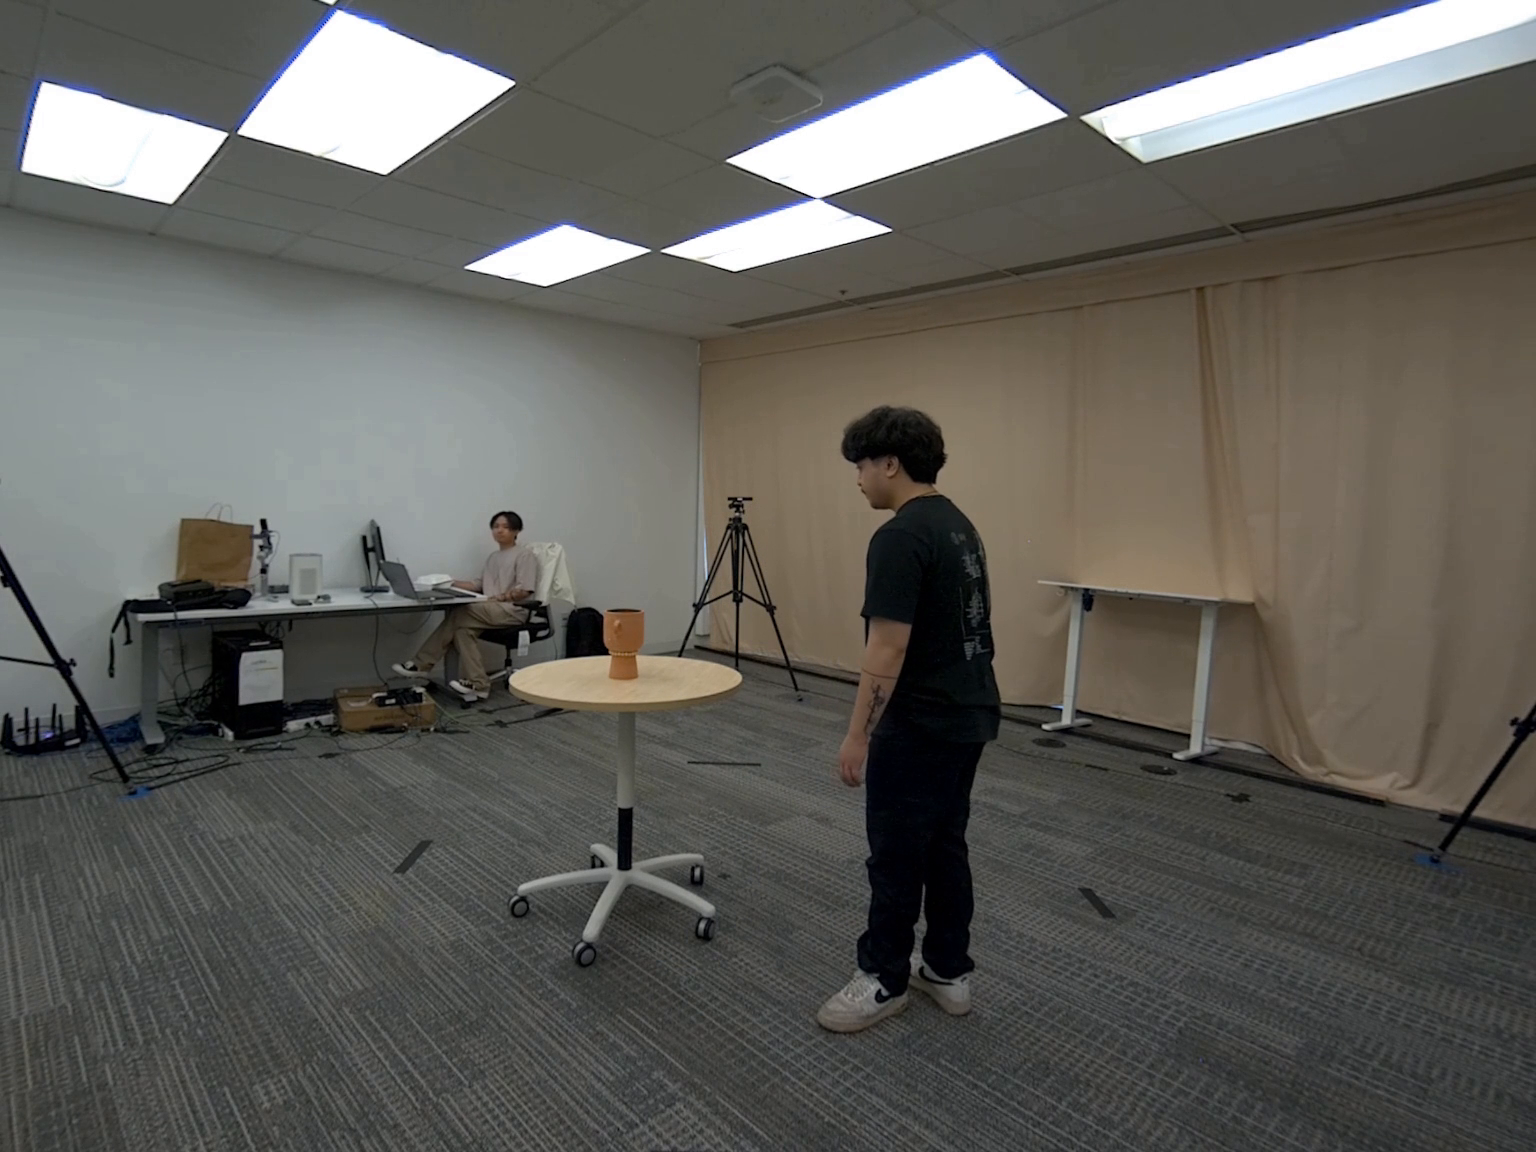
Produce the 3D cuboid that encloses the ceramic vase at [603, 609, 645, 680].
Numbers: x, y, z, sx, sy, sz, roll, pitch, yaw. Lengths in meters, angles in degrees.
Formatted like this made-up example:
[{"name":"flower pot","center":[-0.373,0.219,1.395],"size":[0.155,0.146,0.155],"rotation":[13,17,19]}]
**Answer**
[{"name":"ceramic vase","center":[-0.485,0.227,2.783],"size":[0.155,0.219,0.138],"rotation":[-1,5,-44]}]
